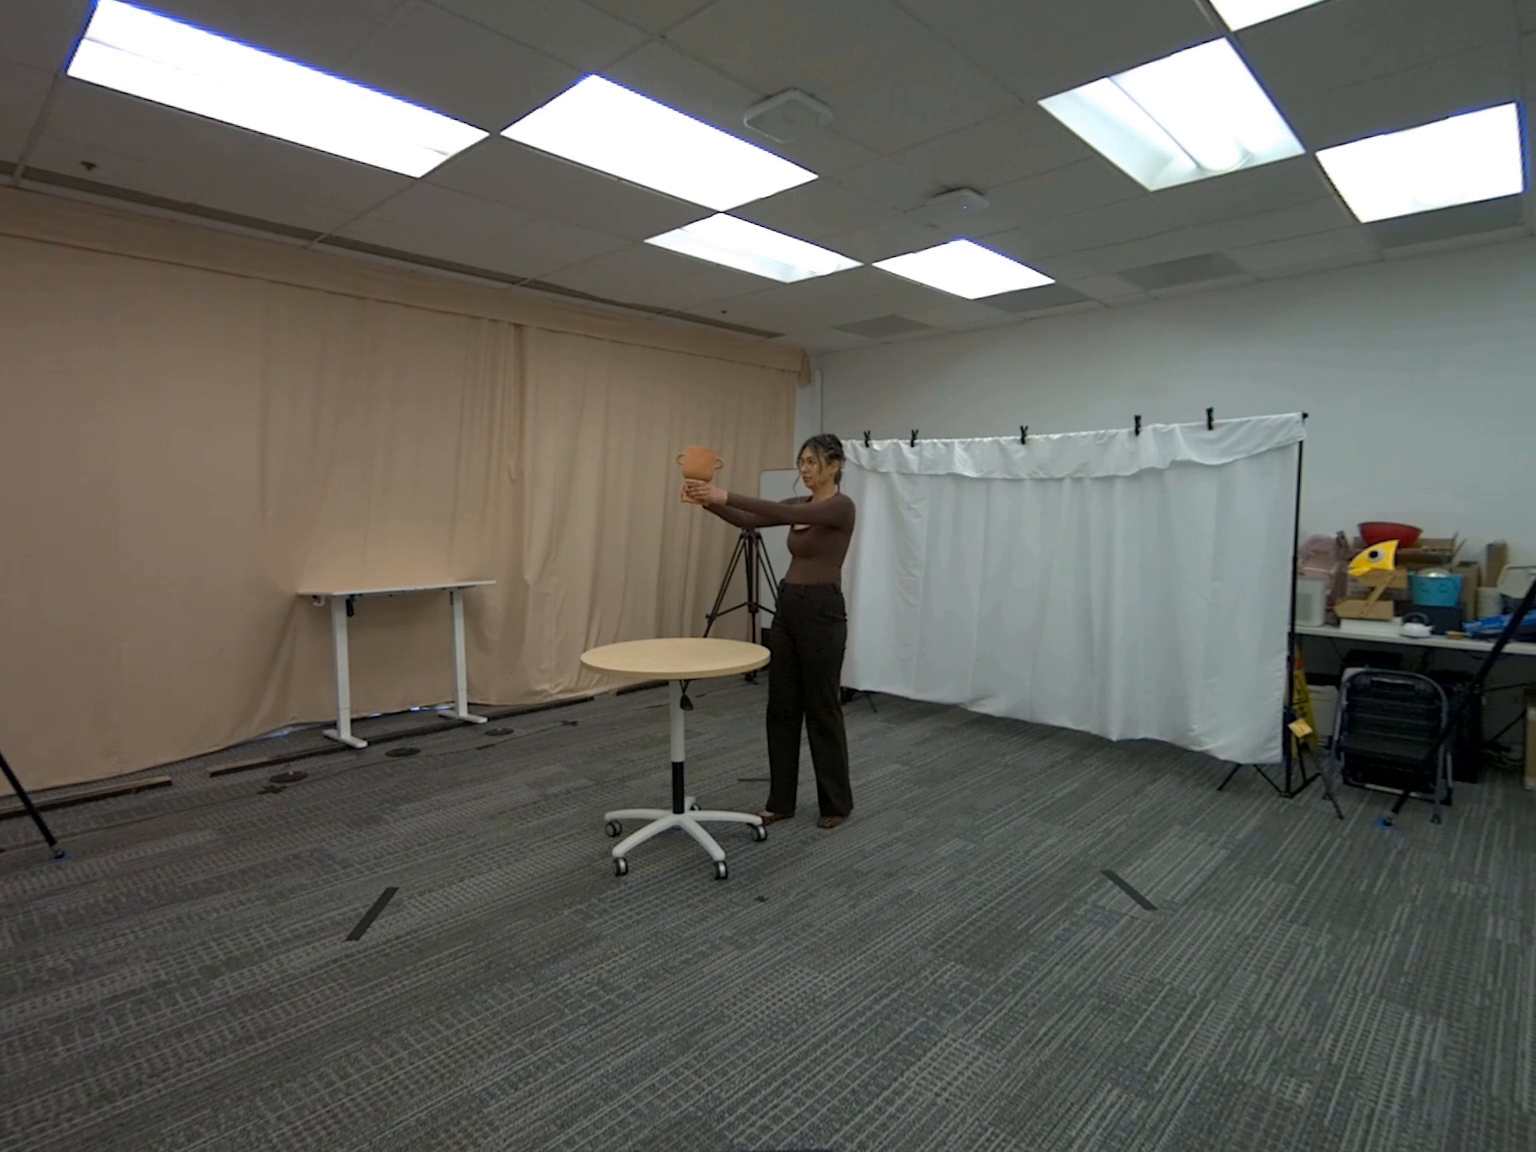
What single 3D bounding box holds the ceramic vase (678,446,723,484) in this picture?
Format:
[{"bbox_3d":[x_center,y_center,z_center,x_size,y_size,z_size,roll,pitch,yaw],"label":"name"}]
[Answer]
[{"bbox_3d":[-0.287,-0.403,3.404,0.130,0.220,0.164,7,1,-44],"label":"ceramic vase"}]
